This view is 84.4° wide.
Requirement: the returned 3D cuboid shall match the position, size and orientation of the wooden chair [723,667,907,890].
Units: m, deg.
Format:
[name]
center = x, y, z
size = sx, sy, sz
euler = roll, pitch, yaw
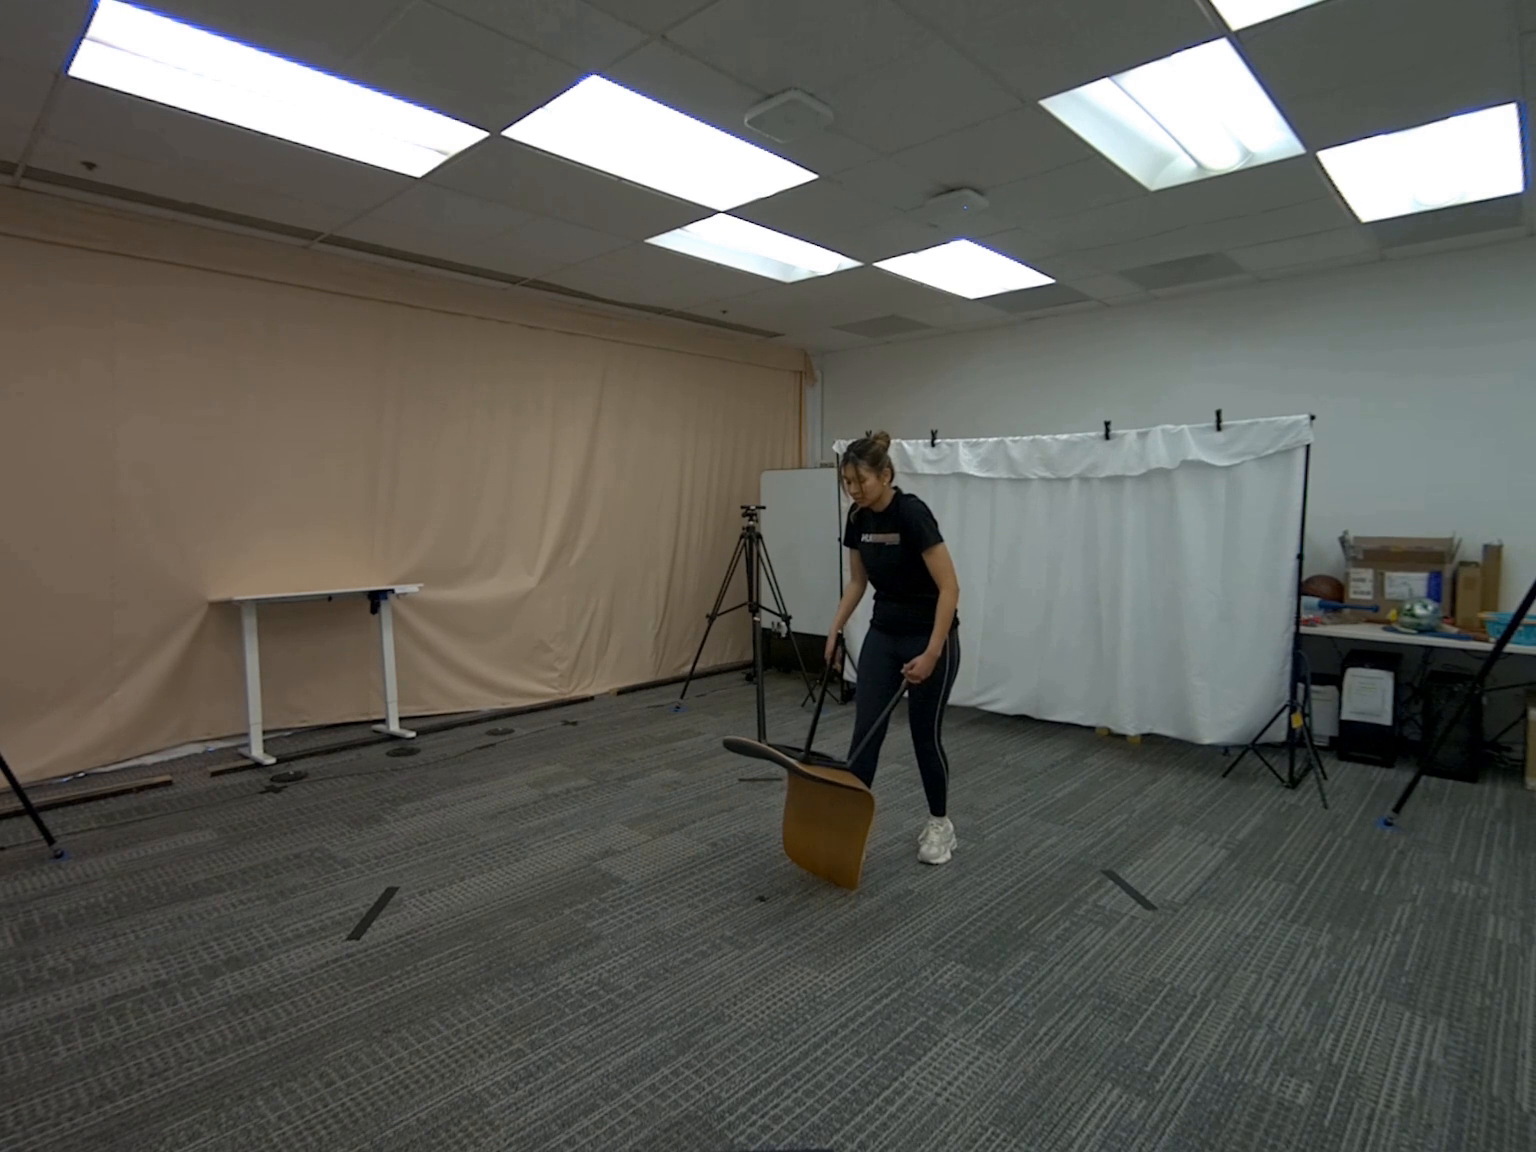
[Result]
[wooden chair]
center = 0.136, 0.653, 3.040
size = 0.505, 0.880, 0.494
euler = 19, -10, -38
